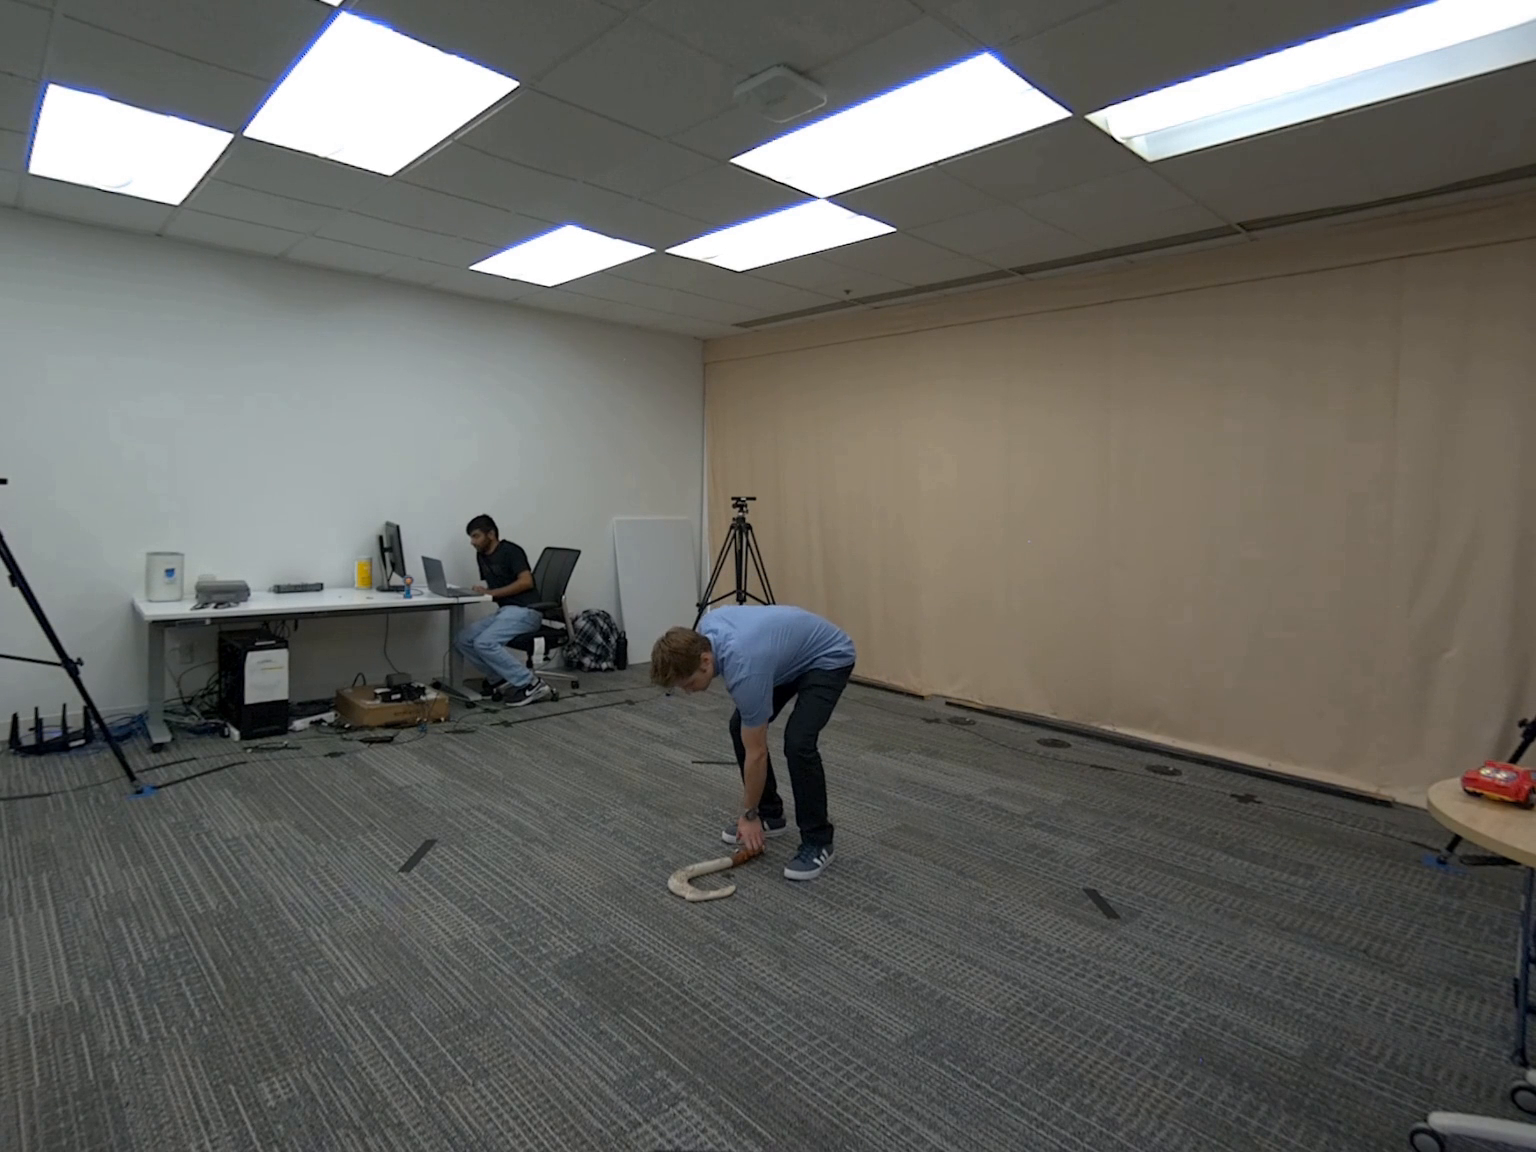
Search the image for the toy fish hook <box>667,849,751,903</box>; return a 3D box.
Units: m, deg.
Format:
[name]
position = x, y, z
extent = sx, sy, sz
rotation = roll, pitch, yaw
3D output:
[toy fish hook]
position = -0.149, 1.090, 3.104
extent = 0.231, 0.048, 0.495
rotation = 16, 14, 40
